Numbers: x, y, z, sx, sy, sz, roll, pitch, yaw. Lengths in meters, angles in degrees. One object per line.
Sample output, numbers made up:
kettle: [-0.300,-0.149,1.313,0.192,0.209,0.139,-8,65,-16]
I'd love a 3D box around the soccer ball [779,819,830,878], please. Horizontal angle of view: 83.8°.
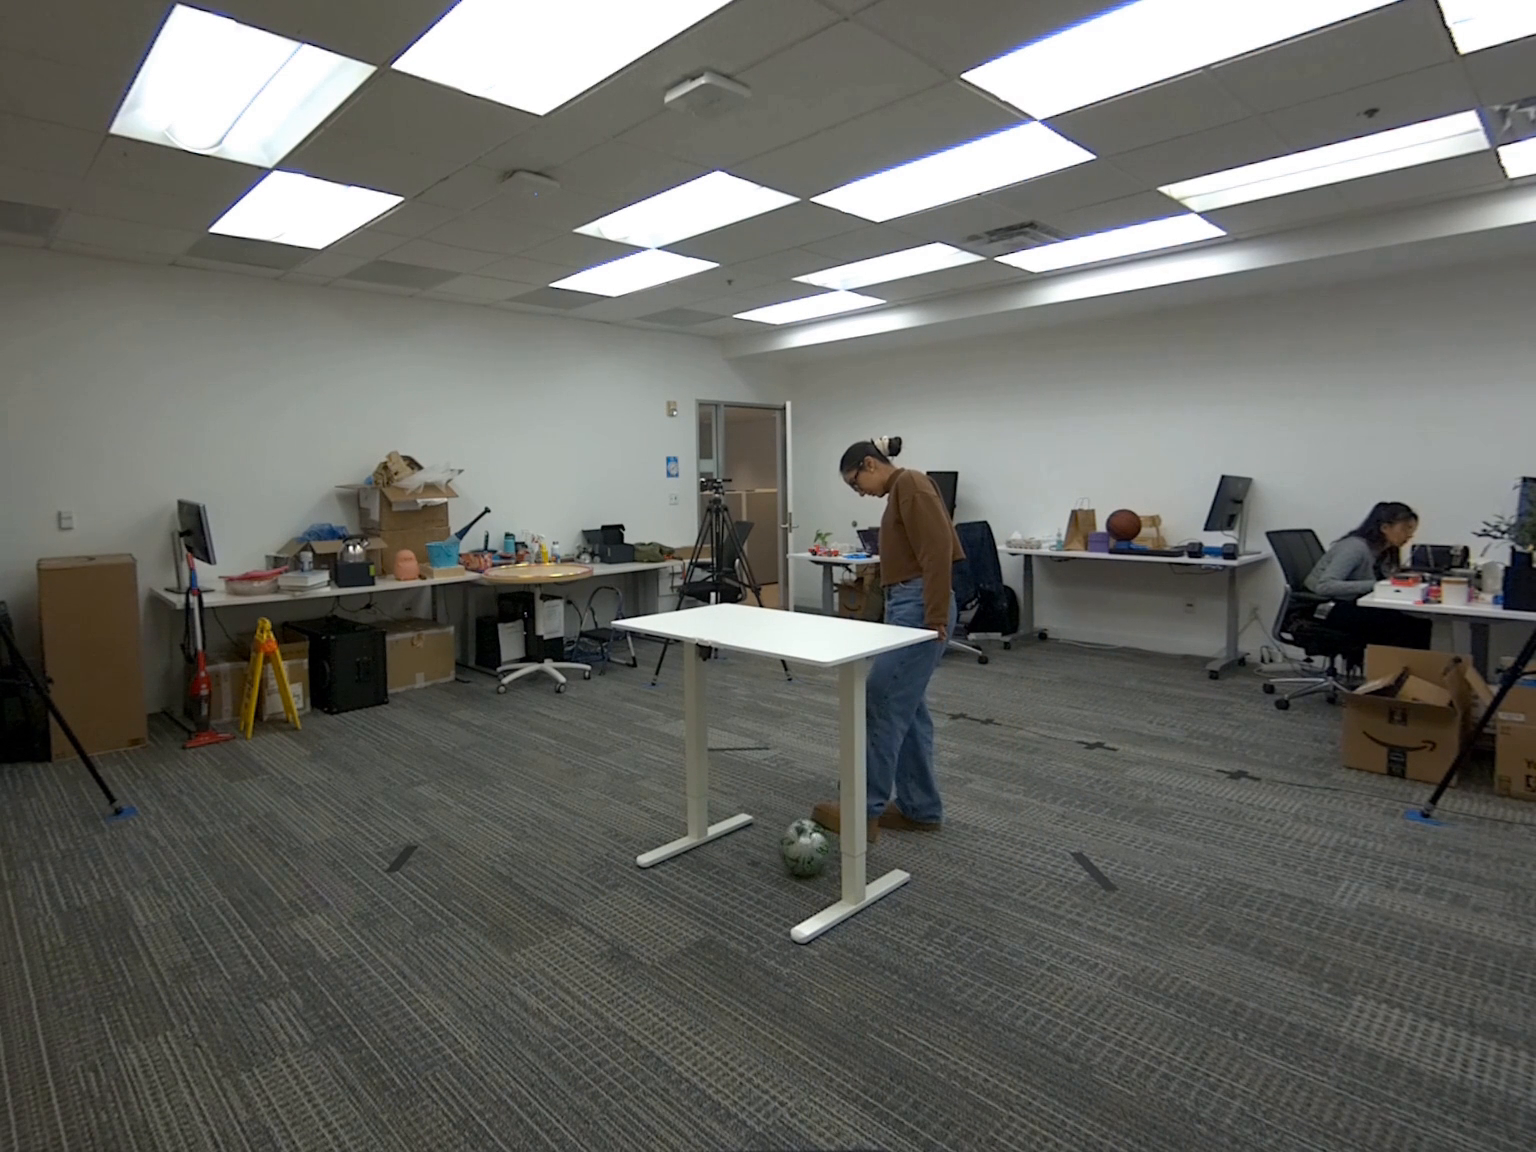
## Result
soccer ball: [0.128,0.960,3.011,0.187,0.187,0.188,-1,5,-2]
